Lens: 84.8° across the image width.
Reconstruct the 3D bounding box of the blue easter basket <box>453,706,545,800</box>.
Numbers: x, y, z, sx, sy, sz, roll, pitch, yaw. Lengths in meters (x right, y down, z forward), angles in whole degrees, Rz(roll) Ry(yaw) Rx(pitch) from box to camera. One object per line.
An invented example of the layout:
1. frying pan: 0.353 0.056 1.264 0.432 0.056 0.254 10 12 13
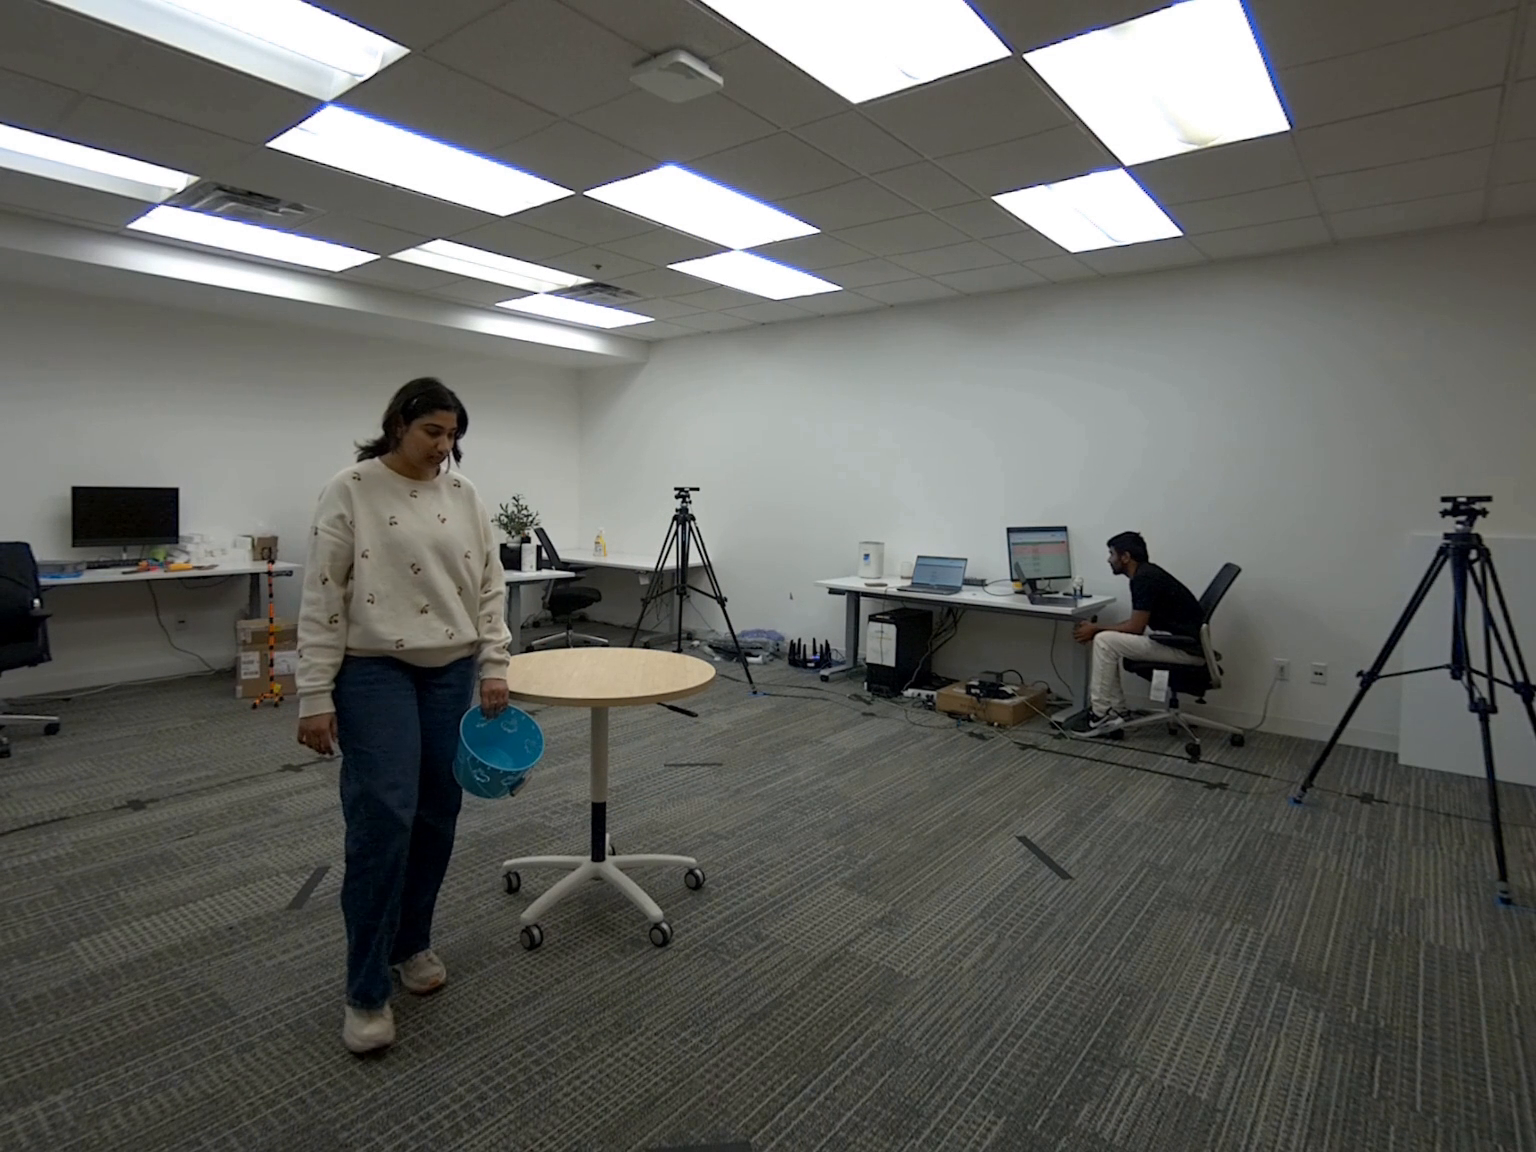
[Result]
1. blue easter basket: -0.767 0.489 2.299 0.239 0.155 0.250 23 29 -16
